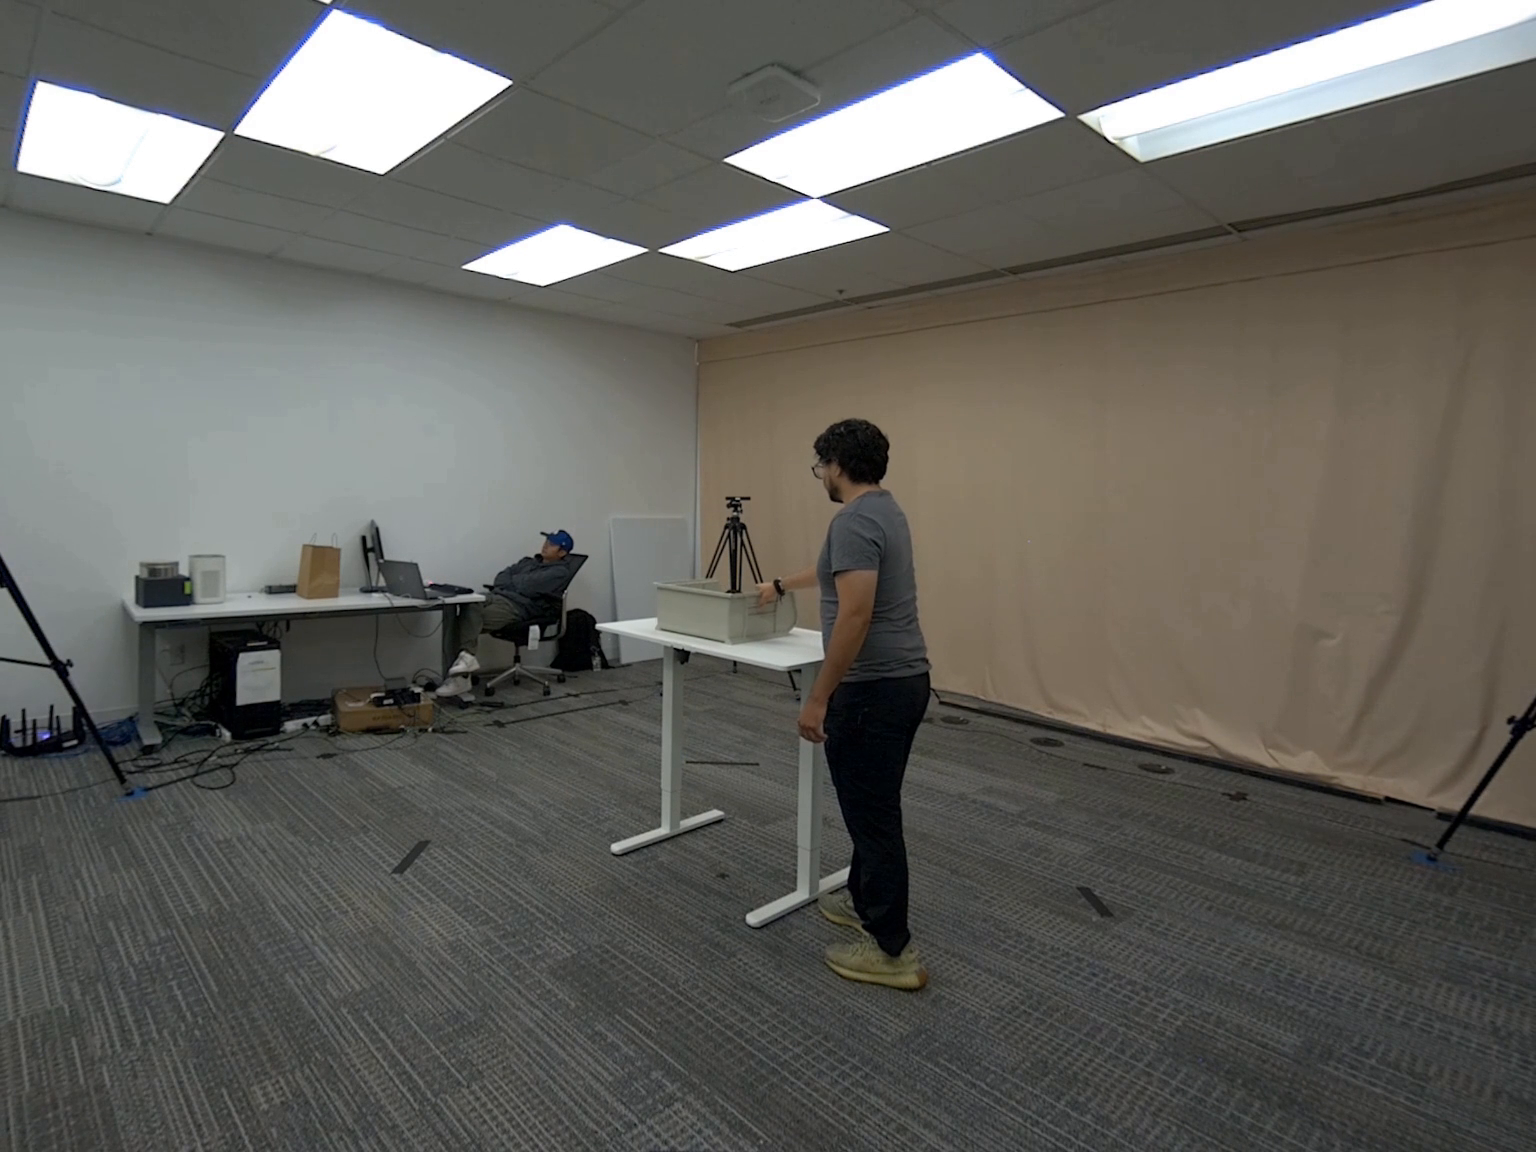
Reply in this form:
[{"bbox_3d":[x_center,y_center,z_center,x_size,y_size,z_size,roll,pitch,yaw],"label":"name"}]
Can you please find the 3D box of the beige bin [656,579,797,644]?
[{"bbox_3d":[-0.165,0.124,3.195,0.433,0.188,0.369,7,9,44],"label":"beige bin"}]
